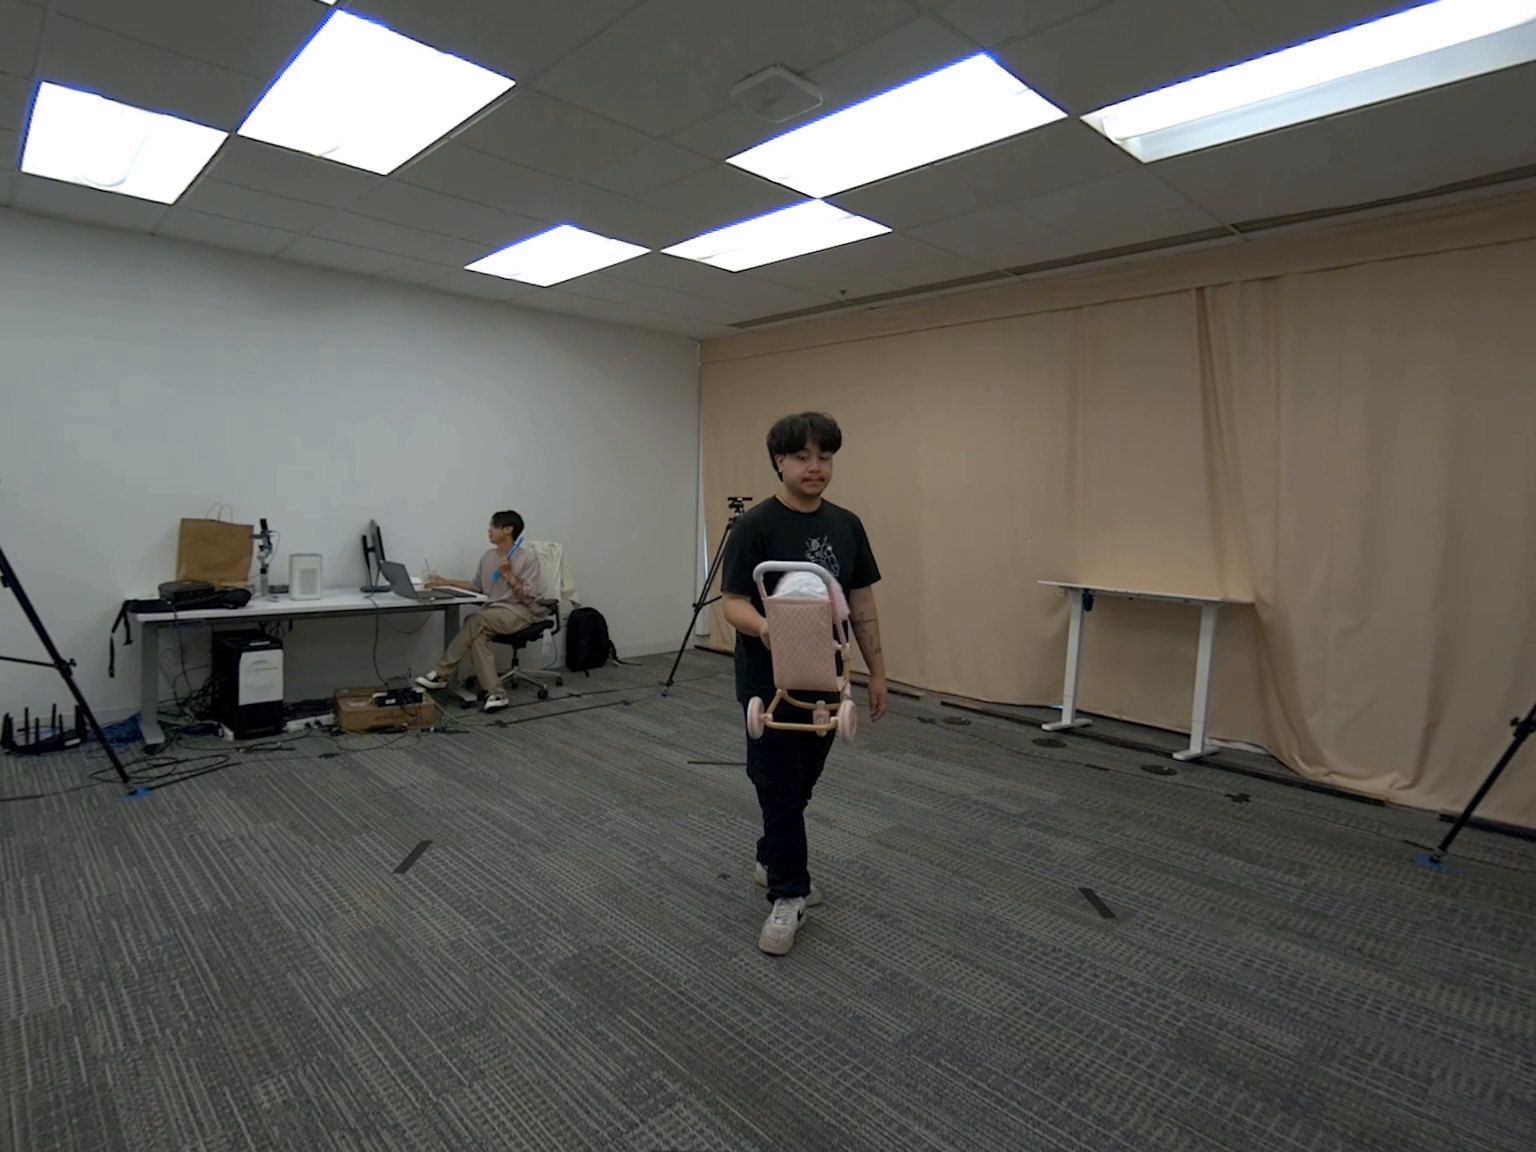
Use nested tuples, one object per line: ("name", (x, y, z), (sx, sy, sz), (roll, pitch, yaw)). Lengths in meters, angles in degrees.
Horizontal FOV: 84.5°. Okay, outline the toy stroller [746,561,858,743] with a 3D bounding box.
("toy stroller", (0.110, 0.219, 2.314), (0.286, 0.533, 0.337), (-1, 4, 21))
